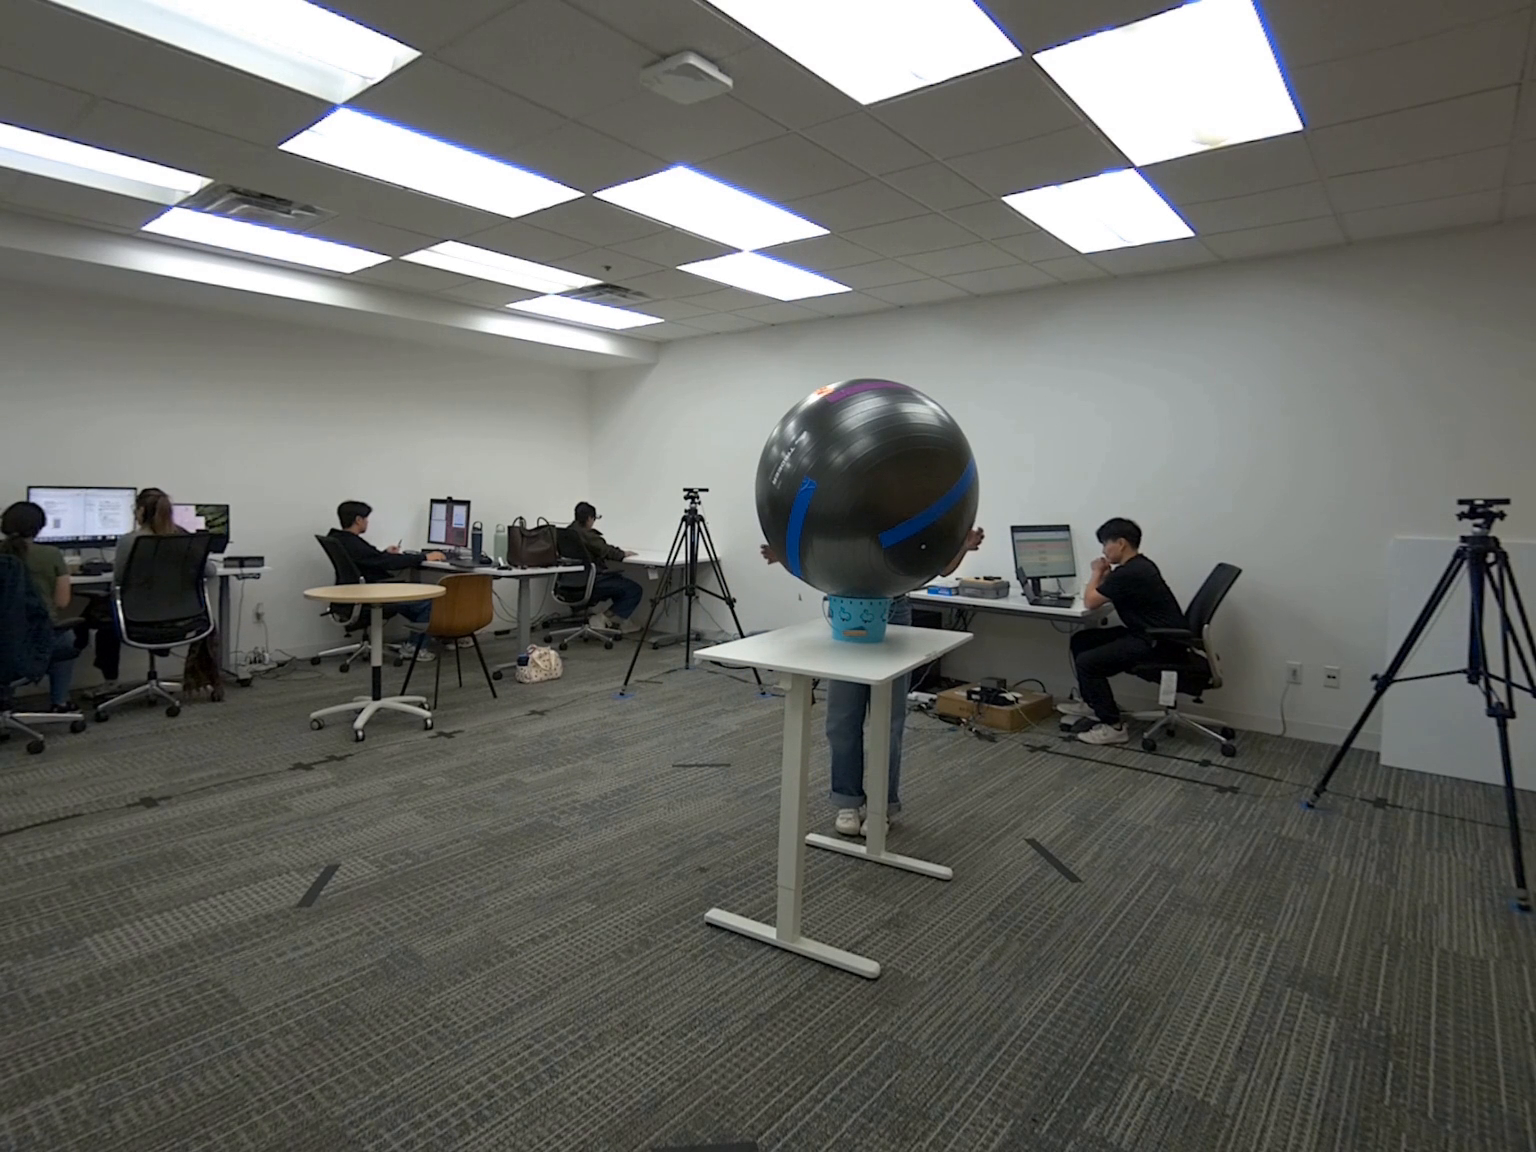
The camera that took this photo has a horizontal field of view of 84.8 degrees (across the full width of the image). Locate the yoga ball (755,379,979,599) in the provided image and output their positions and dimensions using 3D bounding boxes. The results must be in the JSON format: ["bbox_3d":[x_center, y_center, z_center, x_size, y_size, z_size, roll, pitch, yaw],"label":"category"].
[{"bbox_3d":[0.330,-0.293,2.932,0.757,0.756,0.762,1,4,-2],"label":"yoga ball"}]
